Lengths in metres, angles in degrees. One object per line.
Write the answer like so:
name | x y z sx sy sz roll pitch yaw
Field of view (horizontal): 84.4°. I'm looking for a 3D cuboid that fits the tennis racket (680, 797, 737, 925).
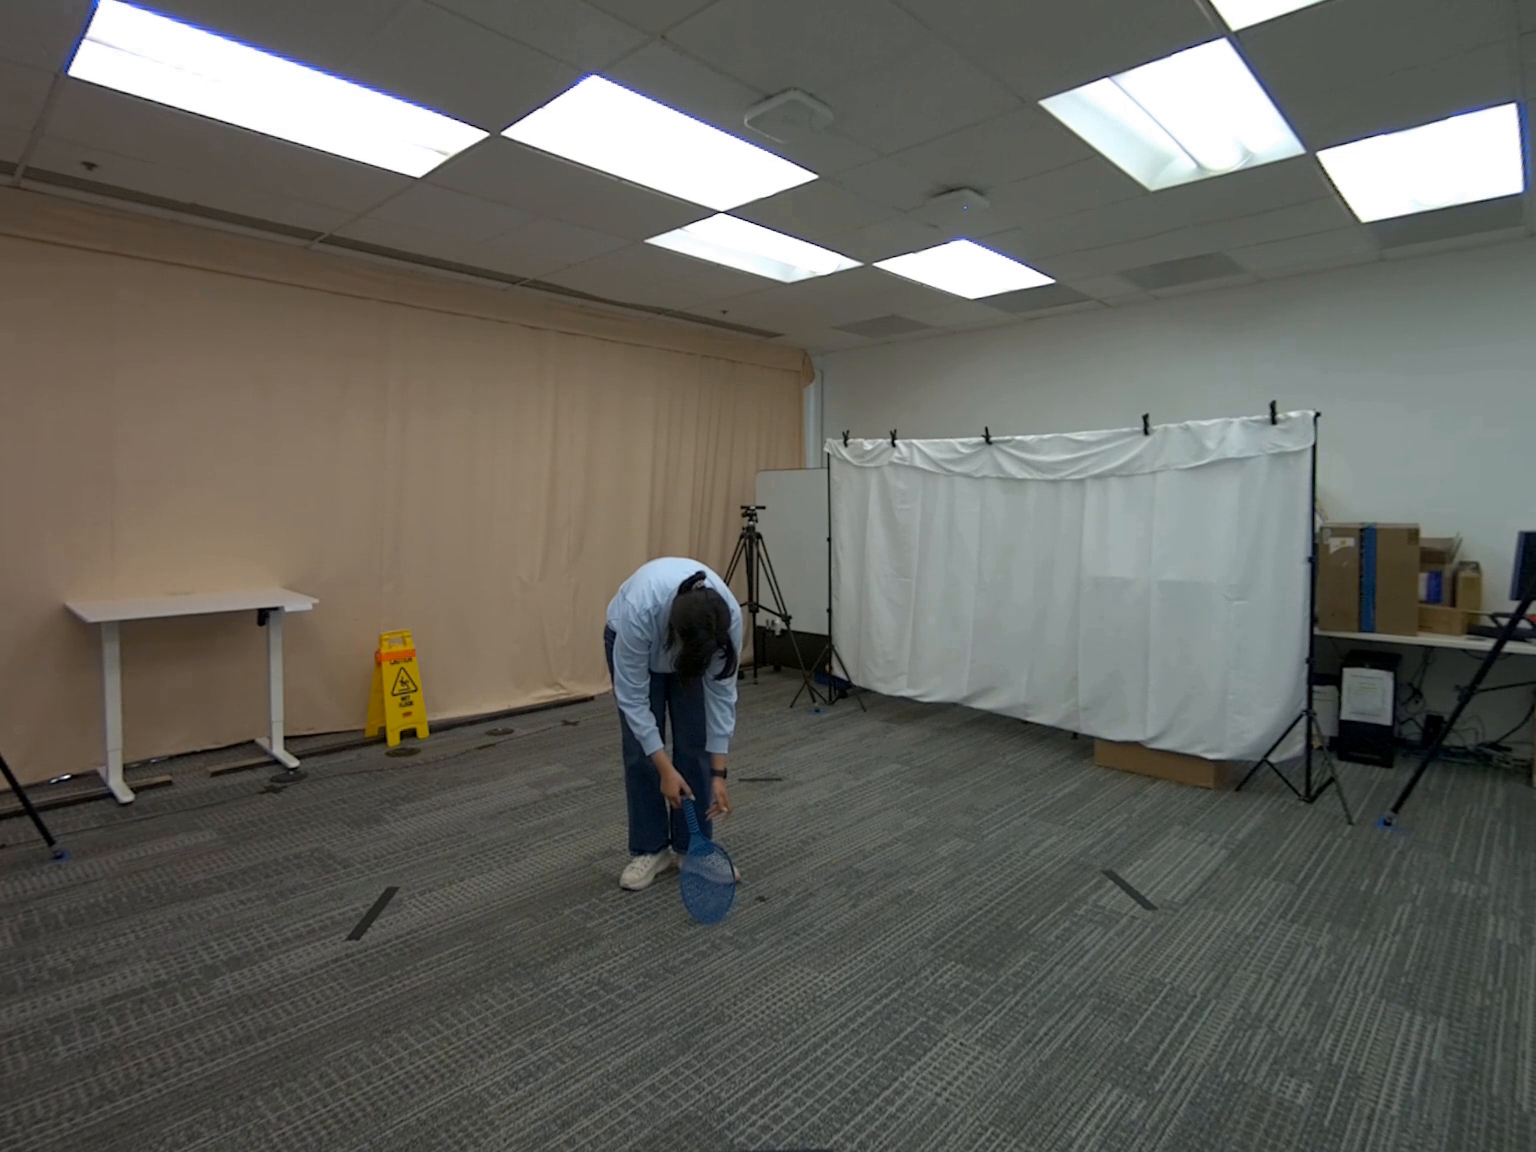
tennis racket | -0.217 0.945 2.830 0.209 0.432 0.032 -16 1 -29
